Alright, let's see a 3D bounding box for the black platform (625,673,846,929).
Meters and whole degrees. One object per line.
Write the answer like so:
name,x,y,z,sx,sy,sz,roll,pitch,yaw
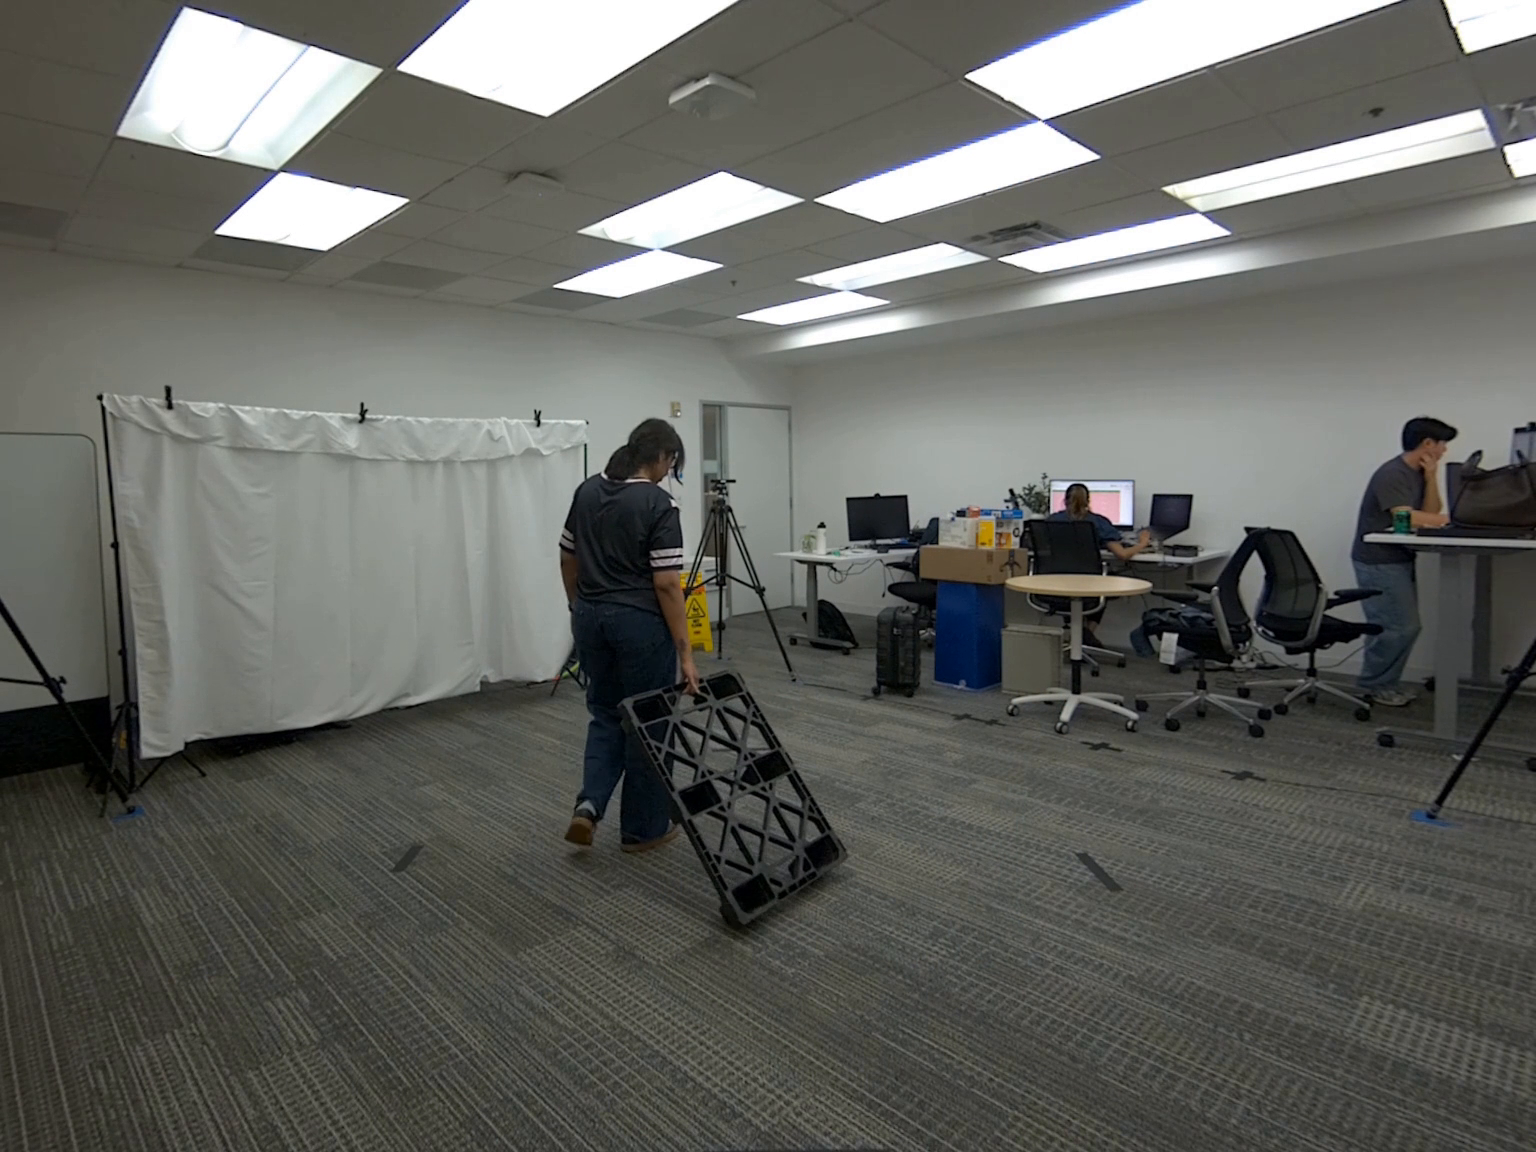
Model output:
black platform,-0.138,0.741,2.970,0.590,0.827,0.143,-8,-32,-49
